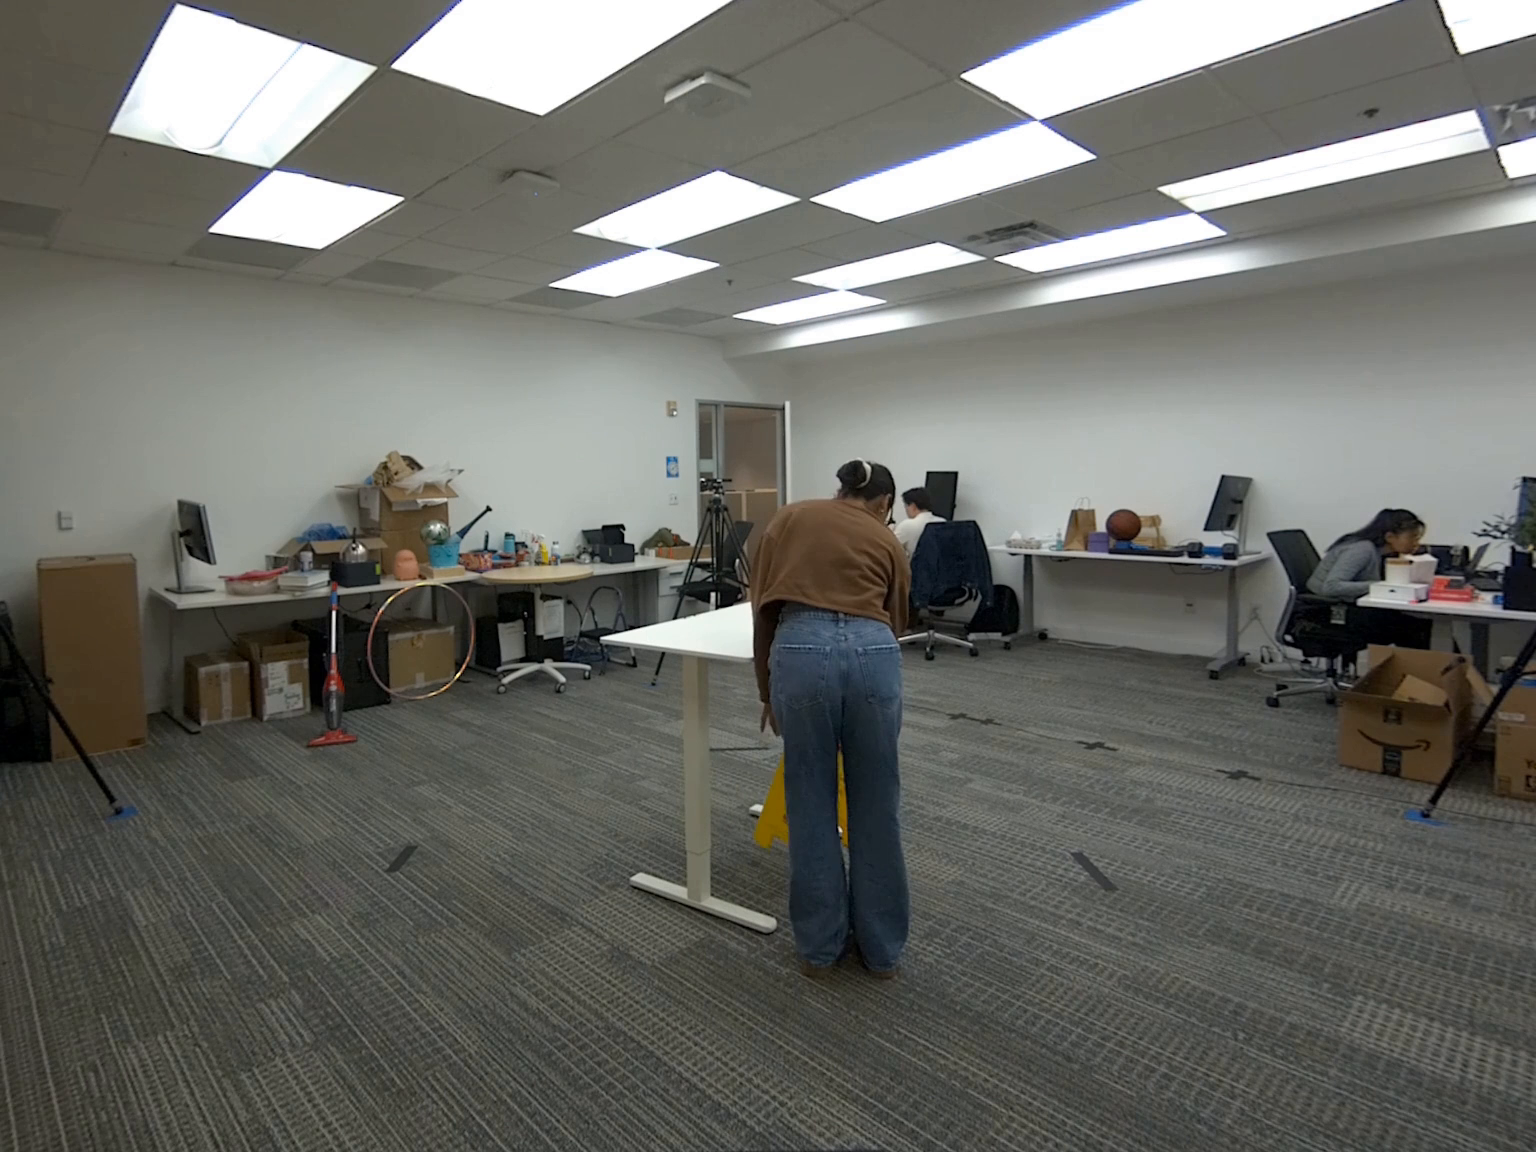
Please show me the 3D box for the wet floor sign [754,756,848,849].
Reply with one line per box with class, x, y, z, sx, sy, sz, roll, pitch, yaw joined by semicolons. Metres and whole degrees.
wet floor sign;0.186;0.668;2.932;0.283;0.636;0.293;-11;29;-39
